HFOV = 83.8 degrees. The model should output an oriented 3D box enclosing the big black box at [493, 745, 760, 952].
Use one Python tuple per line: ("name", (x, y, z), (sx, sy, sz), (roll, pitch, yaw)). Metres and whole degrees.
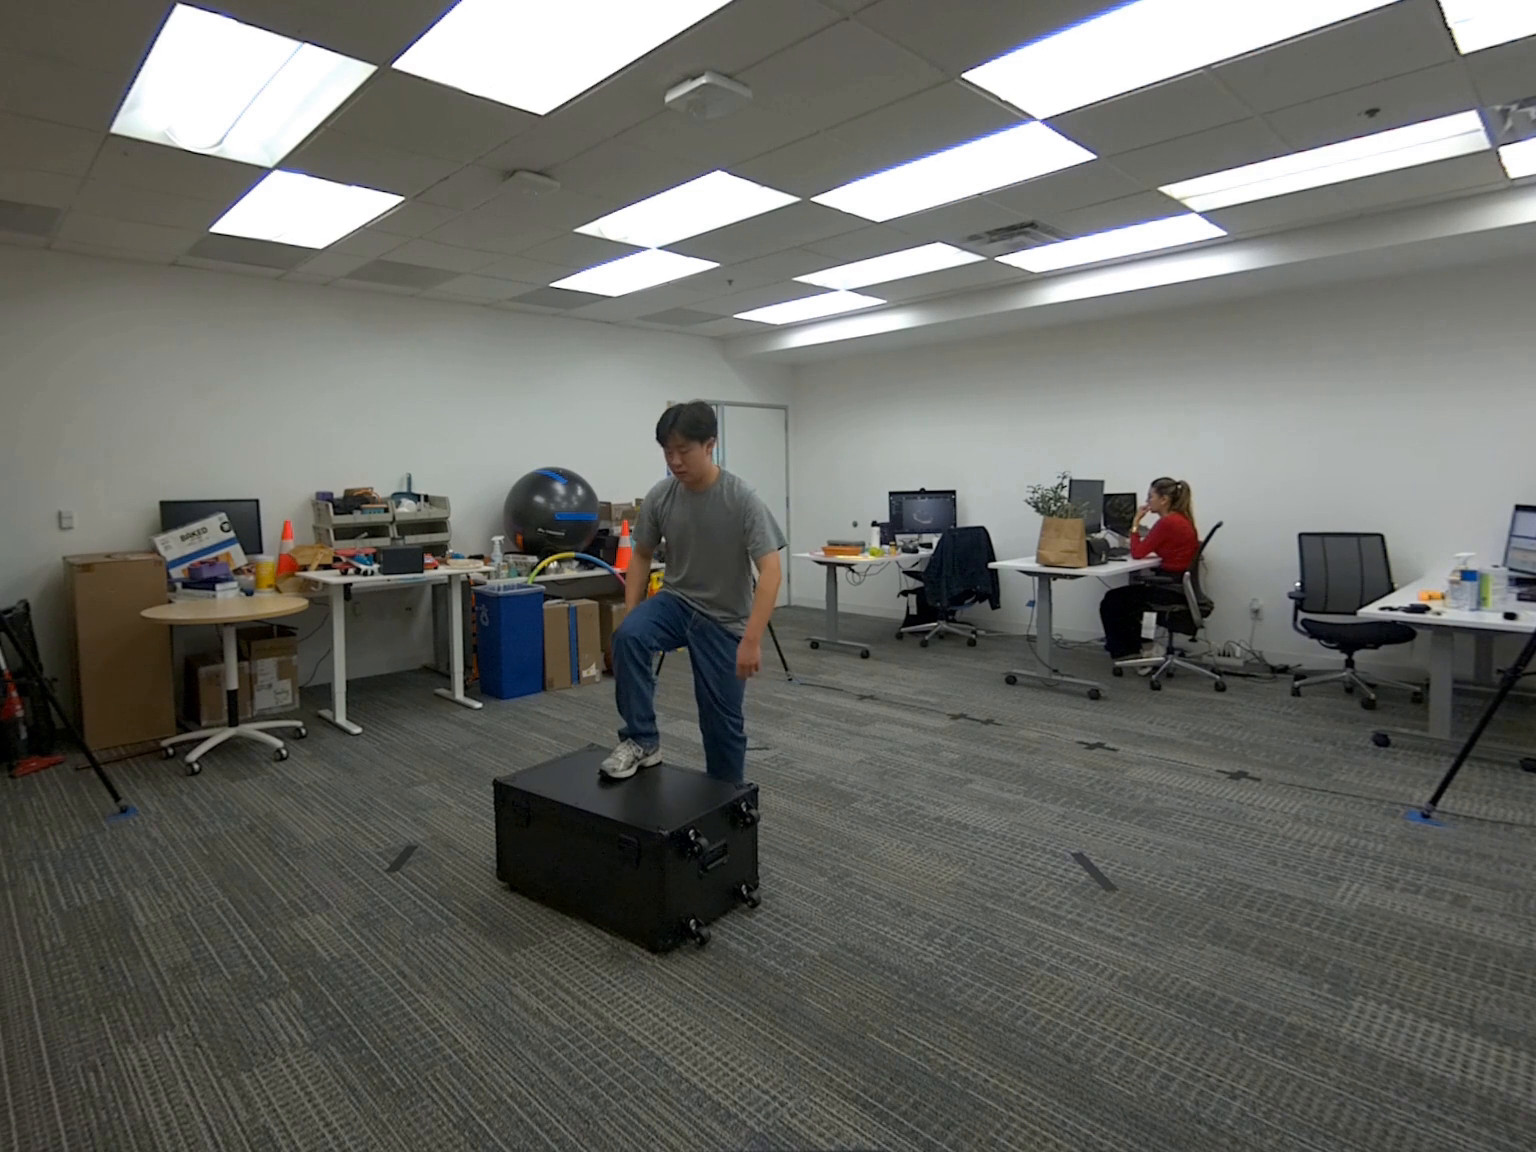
("big black box", (-0.458, 0.890, 2.887), (0.887, 0.395, 0.508), (3, 7, 36))
